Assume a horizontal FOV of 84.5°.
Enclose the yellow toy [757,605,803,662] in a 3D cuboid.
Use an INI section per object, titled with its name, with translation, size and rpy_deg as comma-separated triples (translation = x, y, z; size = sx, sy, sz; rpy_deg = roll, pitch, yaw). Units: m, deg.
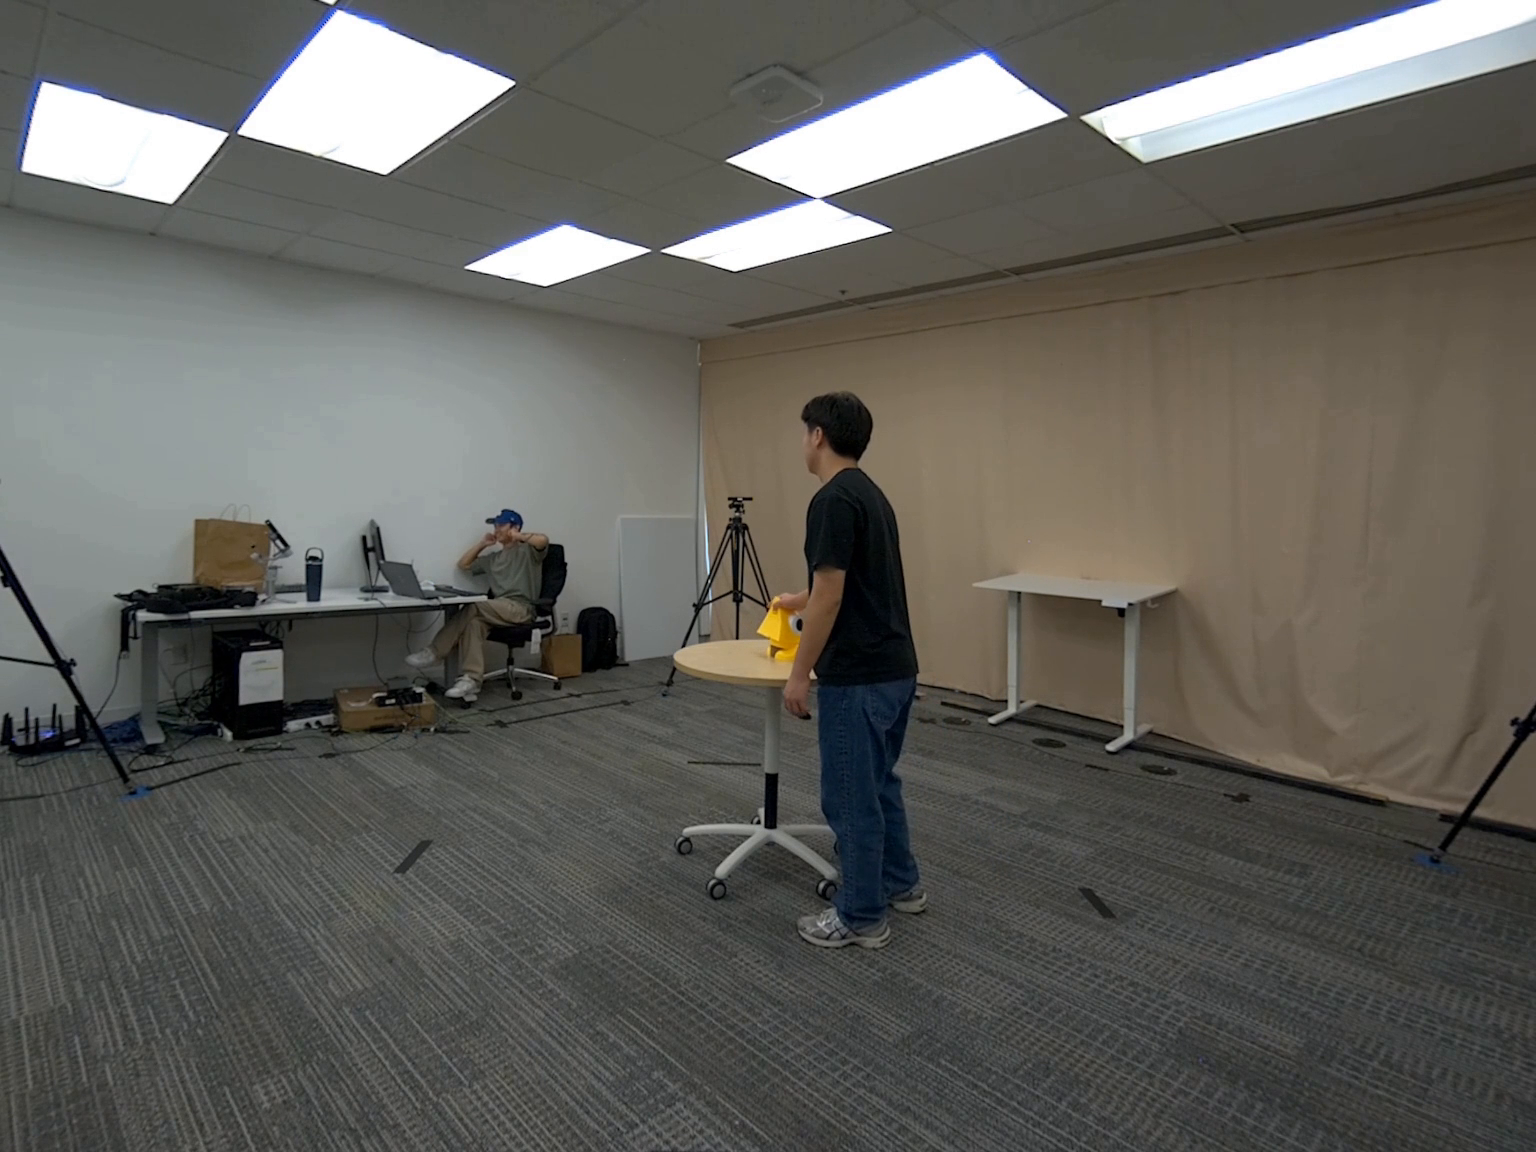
[yellow toy]
translation = 0.072, 0.194, 3.210
size = 0.190, 0.230, 0.209
rpy_deg = -1, 4, -24
